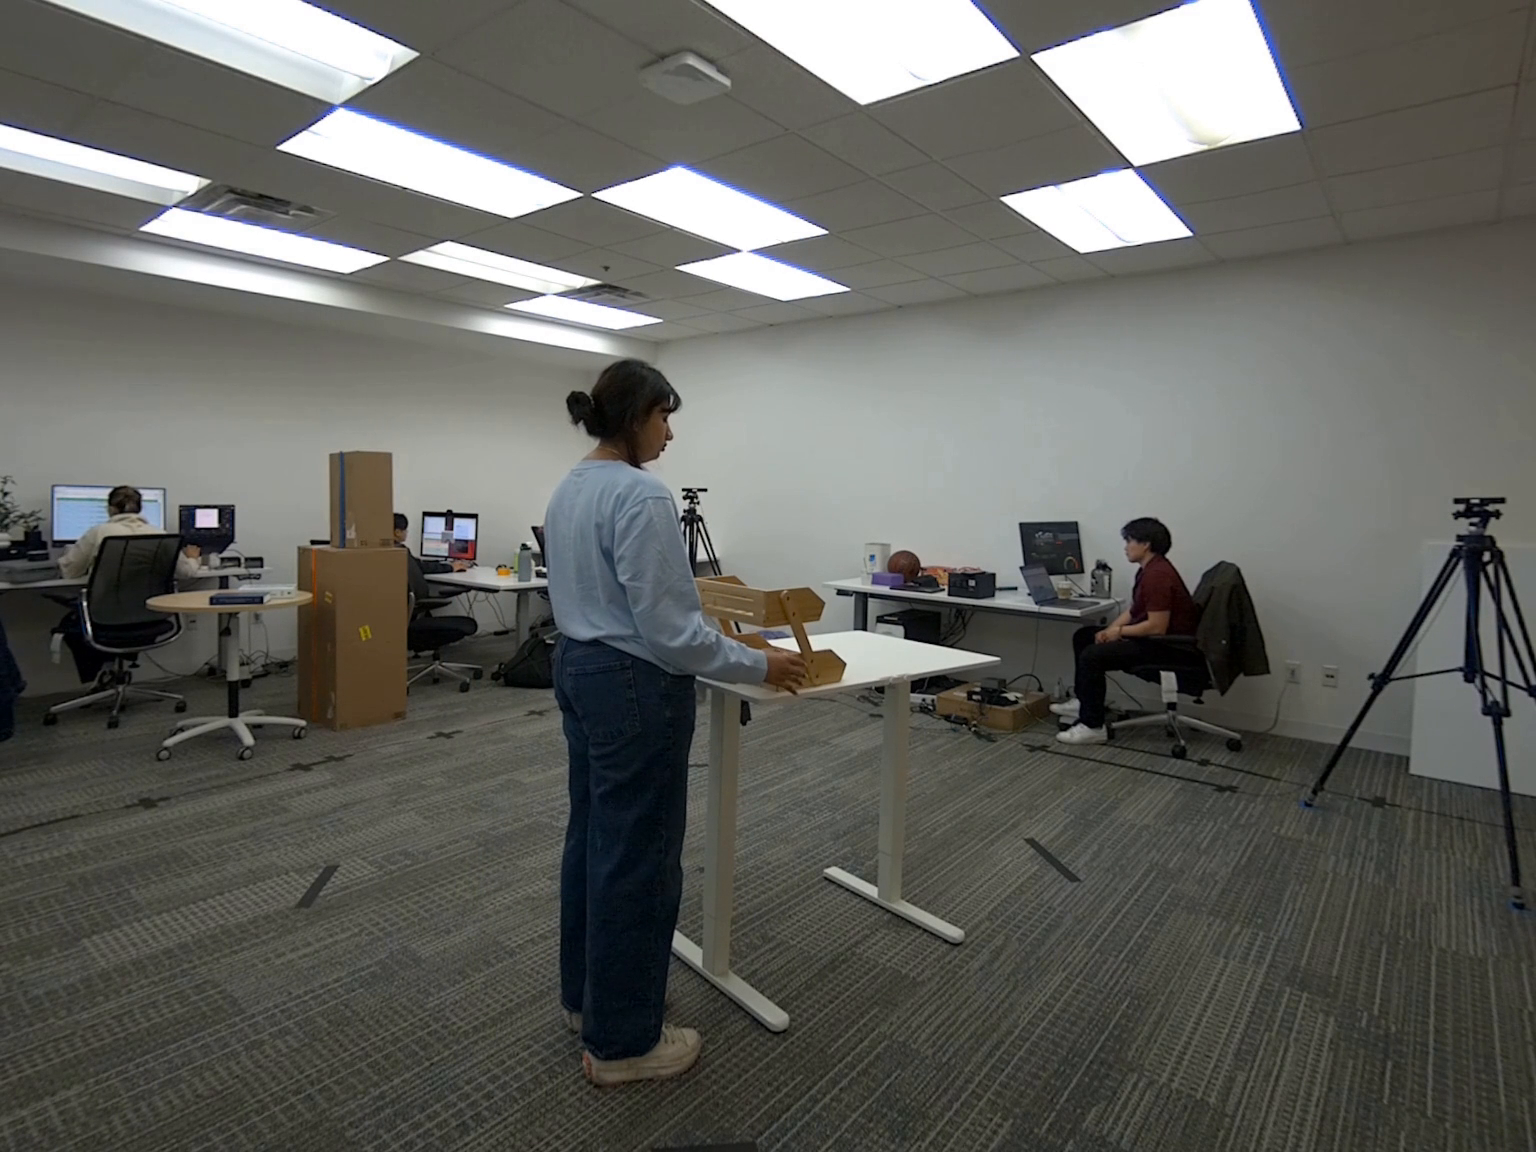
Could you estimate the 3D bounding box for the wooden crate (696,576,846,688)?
[{"bbox_3d":[-0.005,0.141,2.292,0.293,0.272,0.336,-3,8,-41],"label":"wooden crate"}]
